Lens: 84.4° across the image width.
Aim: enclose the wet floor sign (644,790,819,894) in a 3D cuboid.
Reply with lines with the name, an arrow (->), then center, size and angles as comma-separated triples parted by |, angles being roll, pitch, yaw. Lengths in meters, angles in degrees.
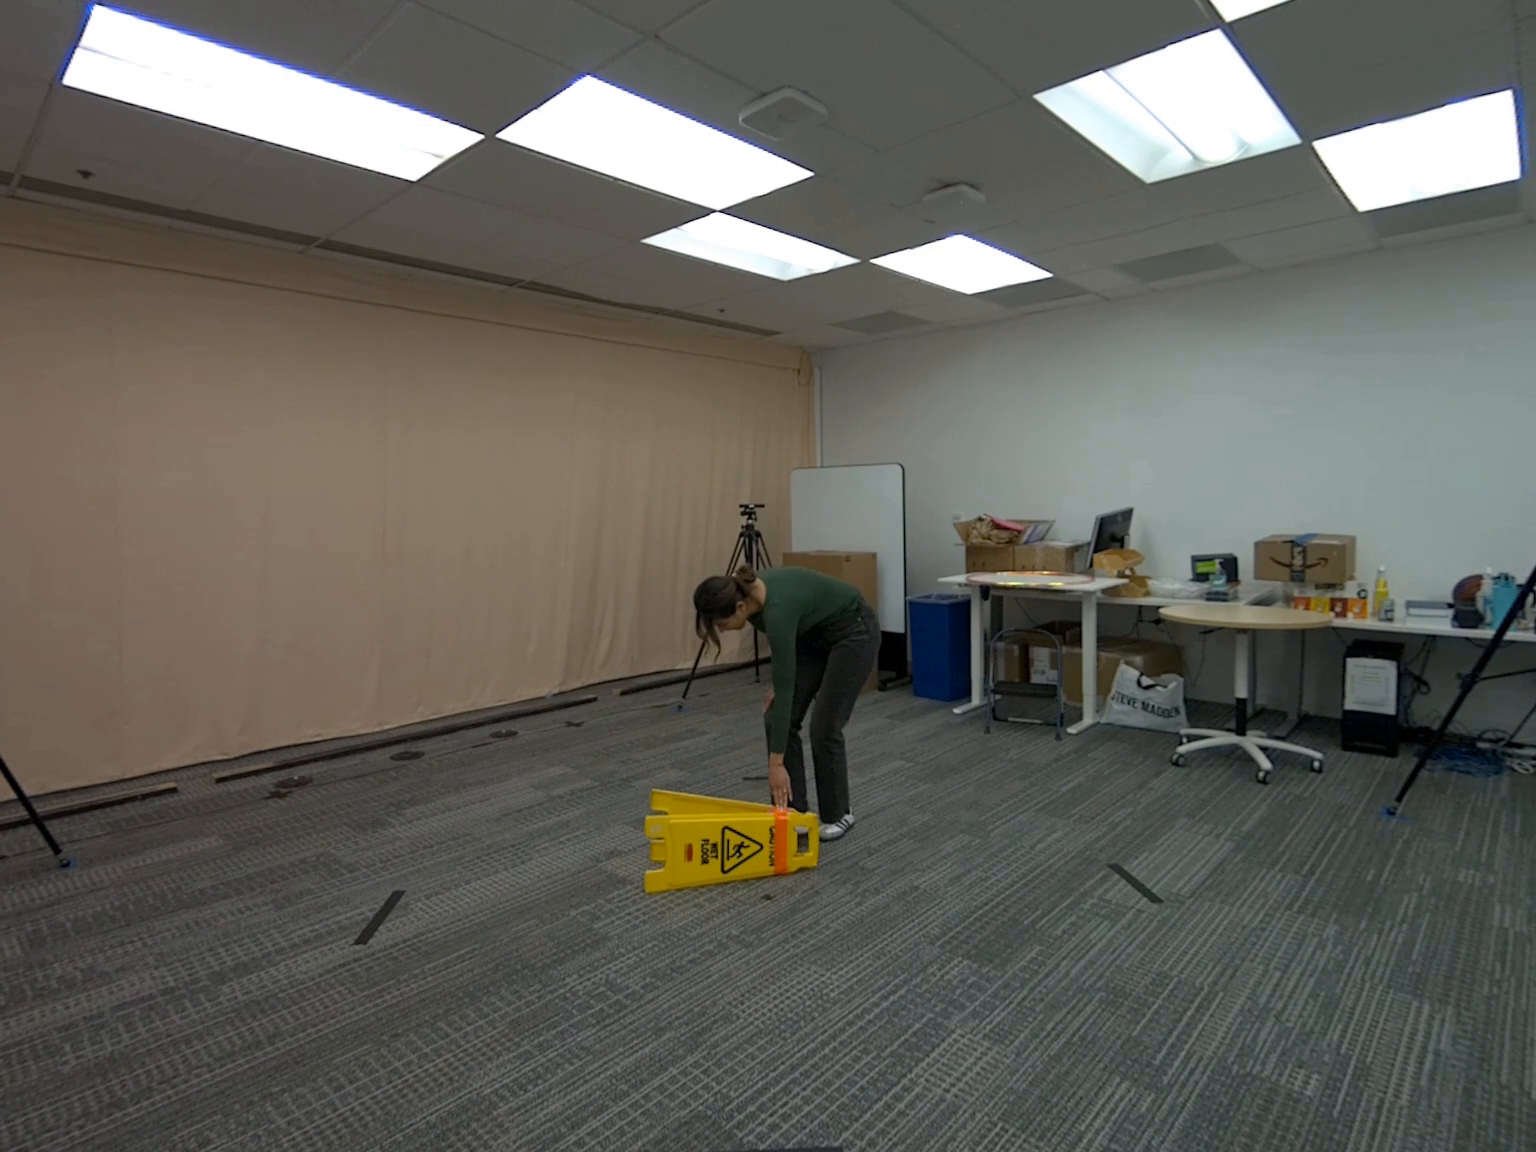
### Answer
wet floor sign -> -0.128, 0.991, 3.180 | 0.645, 0.281, 0.291 | 1, 4, -1
